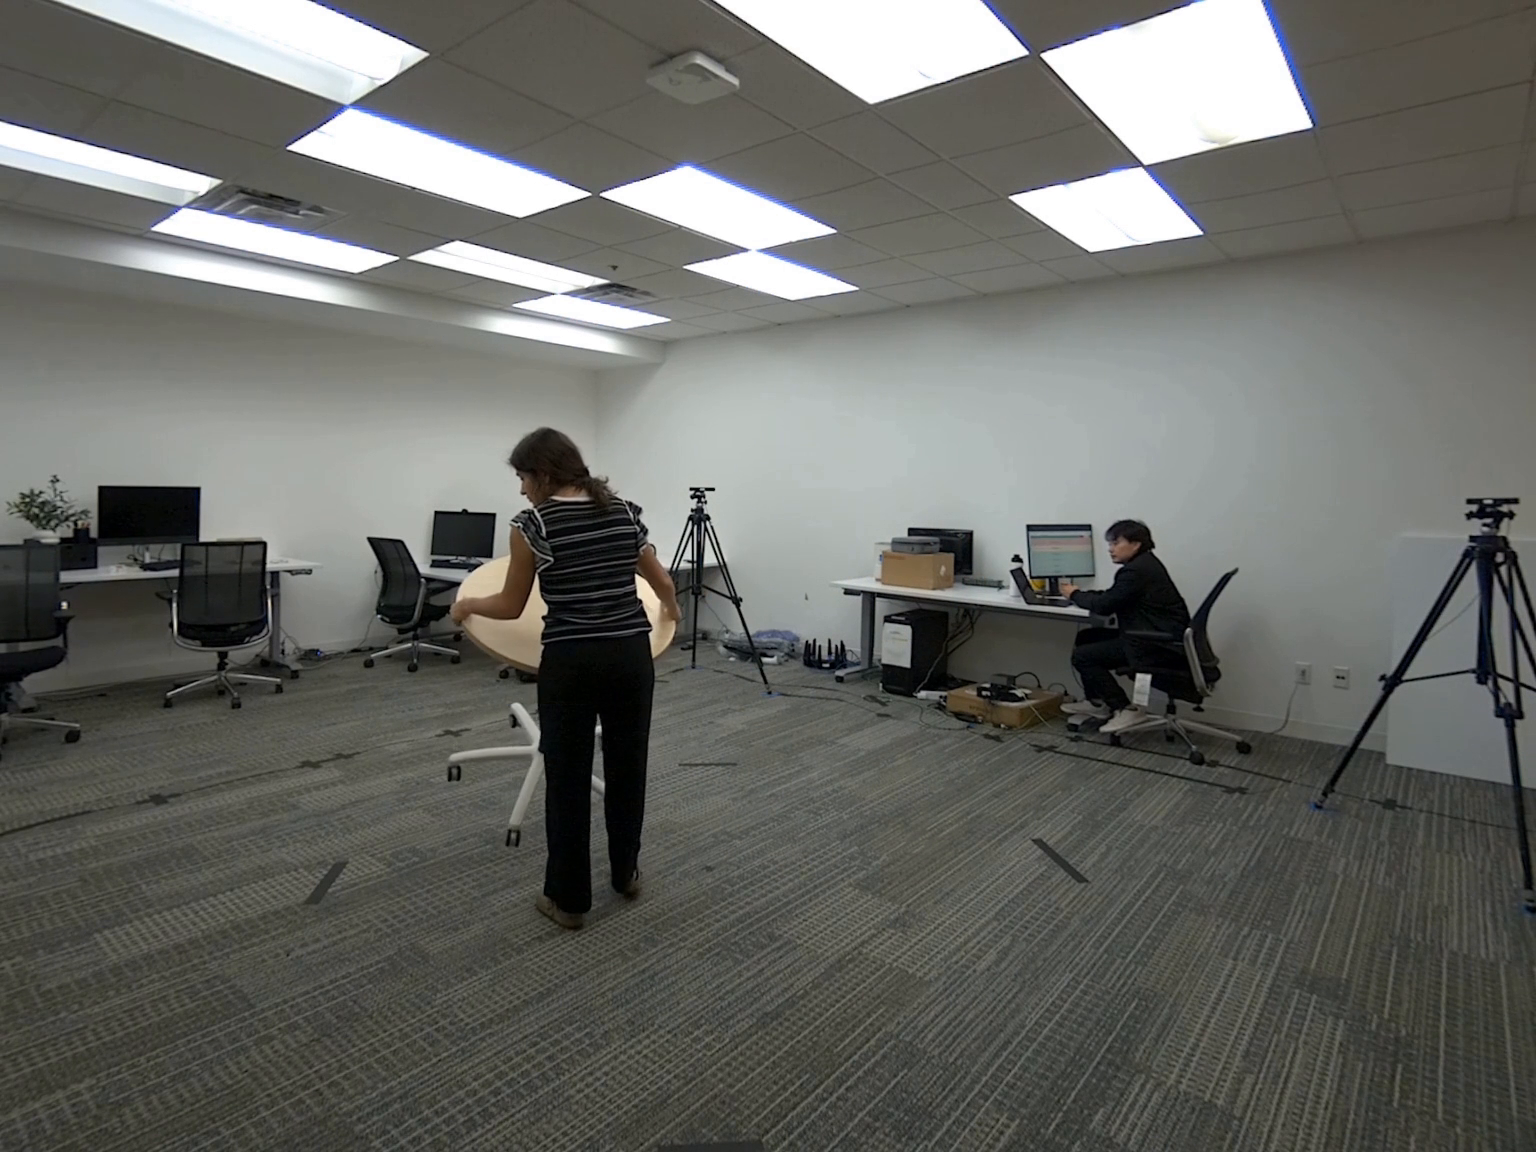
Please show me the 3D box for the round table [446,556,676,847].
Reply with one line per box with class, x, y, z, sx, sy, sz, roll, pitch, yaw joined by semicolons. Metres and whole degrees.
round table;-0.813;0.450;3.173;0.758;0.782;0.782;11;26;-7
